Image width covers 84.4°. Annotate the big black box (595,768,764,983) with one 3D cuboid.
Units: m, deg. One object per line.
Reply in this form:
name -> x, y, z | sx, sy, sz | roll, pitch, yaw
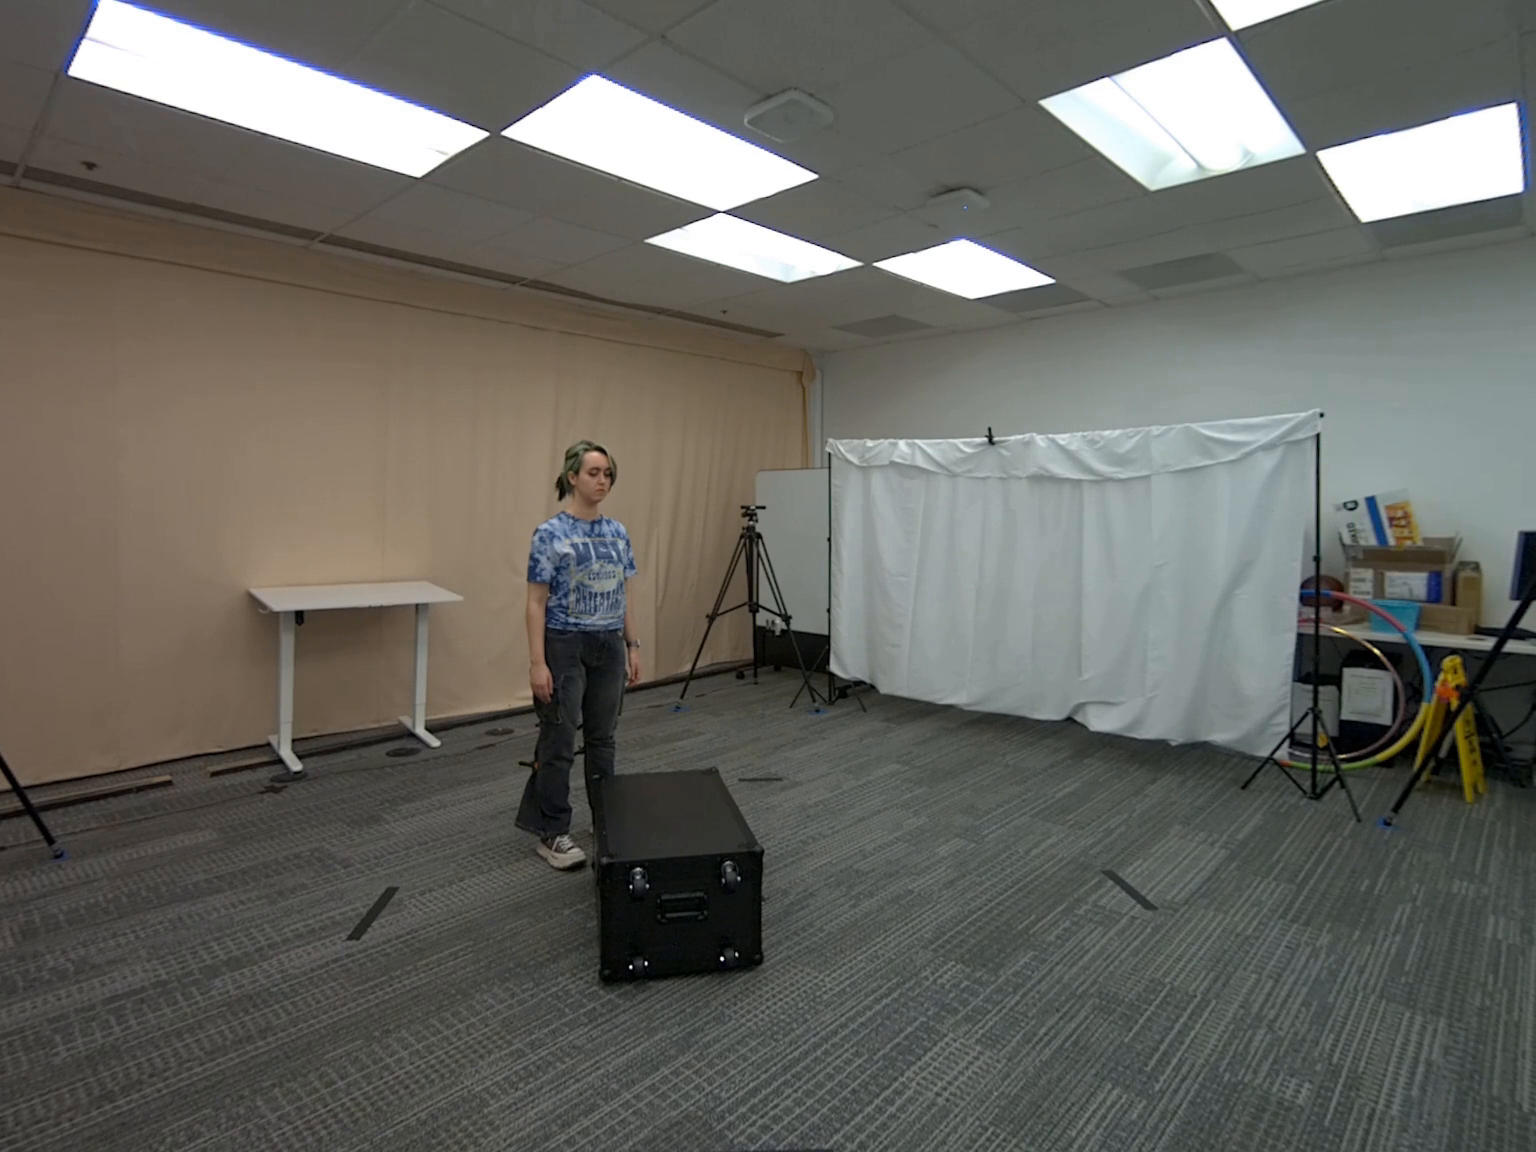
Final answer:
big black box -> -0.339, 0.964, 2.868 | 0.515, 0.395, 0.874 | -1, 5, -12
